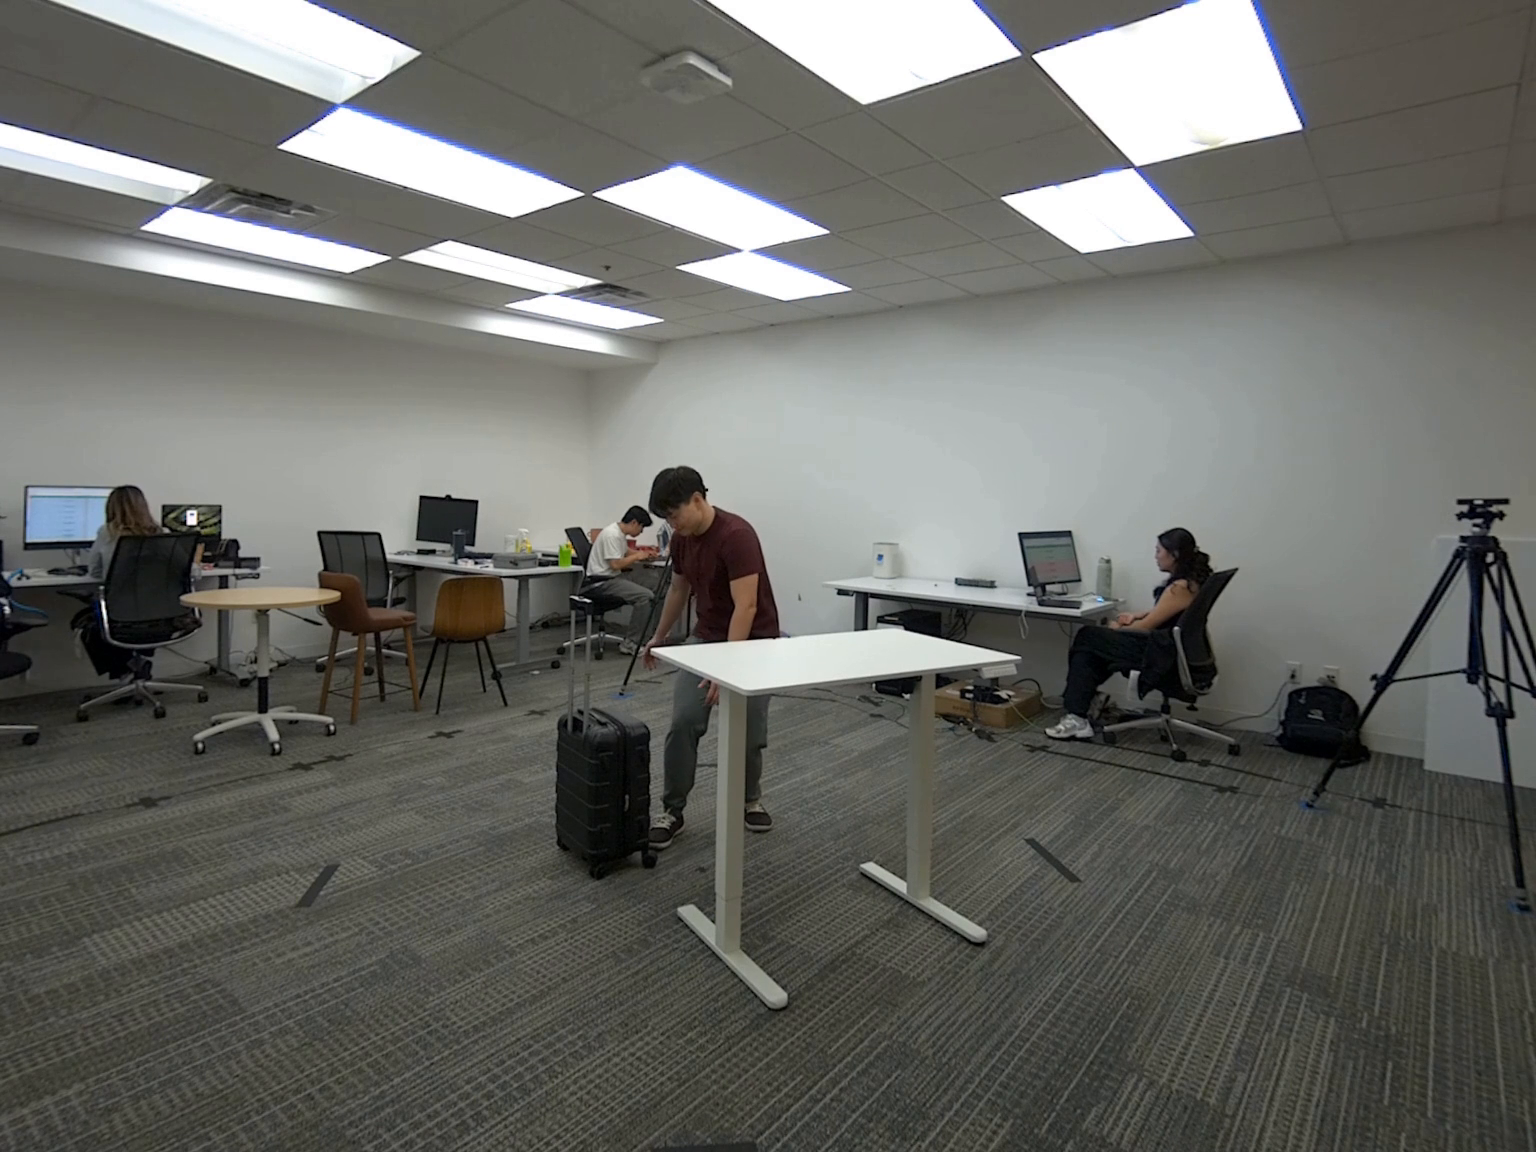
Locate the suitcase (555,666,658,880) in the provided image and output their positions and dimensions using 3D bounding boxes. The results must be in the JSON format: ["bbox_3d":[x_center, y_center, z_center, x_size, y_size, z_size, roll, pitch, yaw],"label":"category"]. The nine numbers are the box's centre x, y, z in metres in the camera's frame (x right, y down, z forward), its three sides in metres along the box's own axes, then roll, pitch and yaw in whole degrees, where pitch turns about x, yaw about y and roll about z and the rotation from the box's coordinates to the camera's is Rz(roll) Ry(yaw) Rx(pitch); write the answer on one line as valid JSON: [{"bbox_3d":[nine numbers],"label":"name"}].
[{"bbox_3d":[-0.625,0.575,3.170,0.250,0.977,0.396,2,2,-31],"label":"suitcase"}]
